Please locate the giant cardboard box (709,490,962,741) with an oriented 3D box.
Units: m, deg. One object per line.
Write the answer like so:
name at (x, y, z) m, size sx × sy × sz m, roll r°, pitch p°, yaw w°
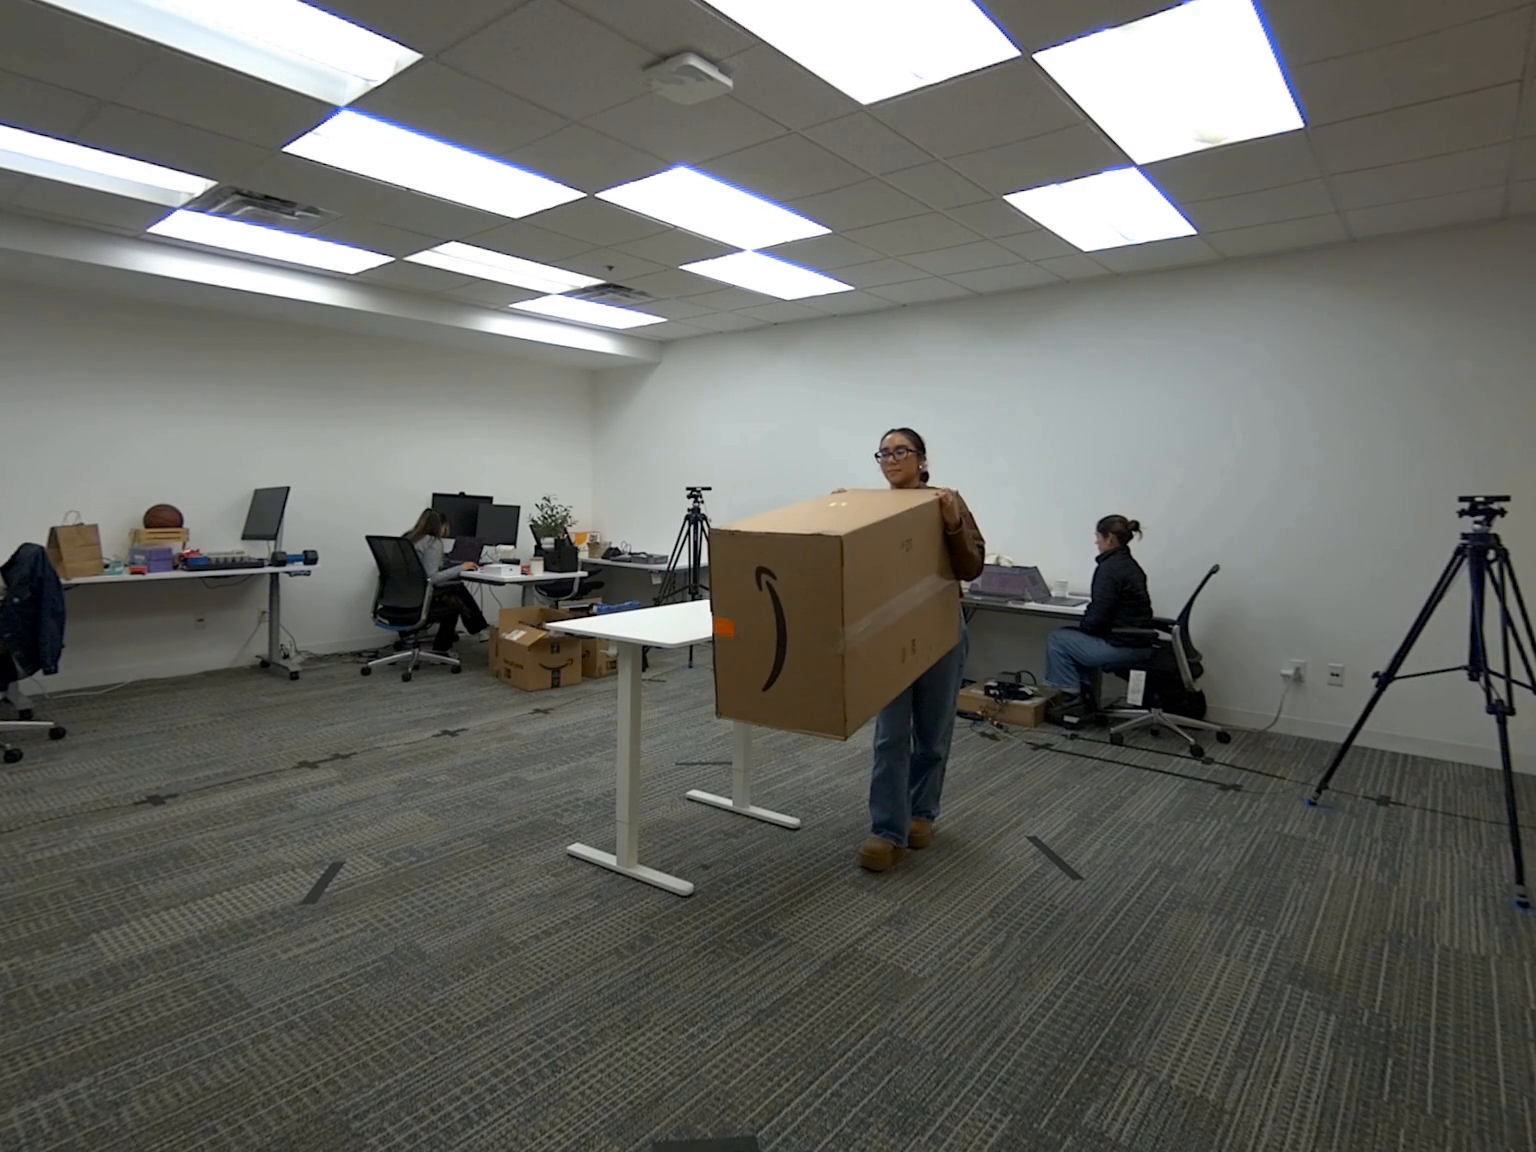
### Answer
giant cardboard box at (0.252, 0.060, 2.801) m, size 0.439 × 0.572 × 1.006 m, roll 3°, pitch 13°, yaw 31°
